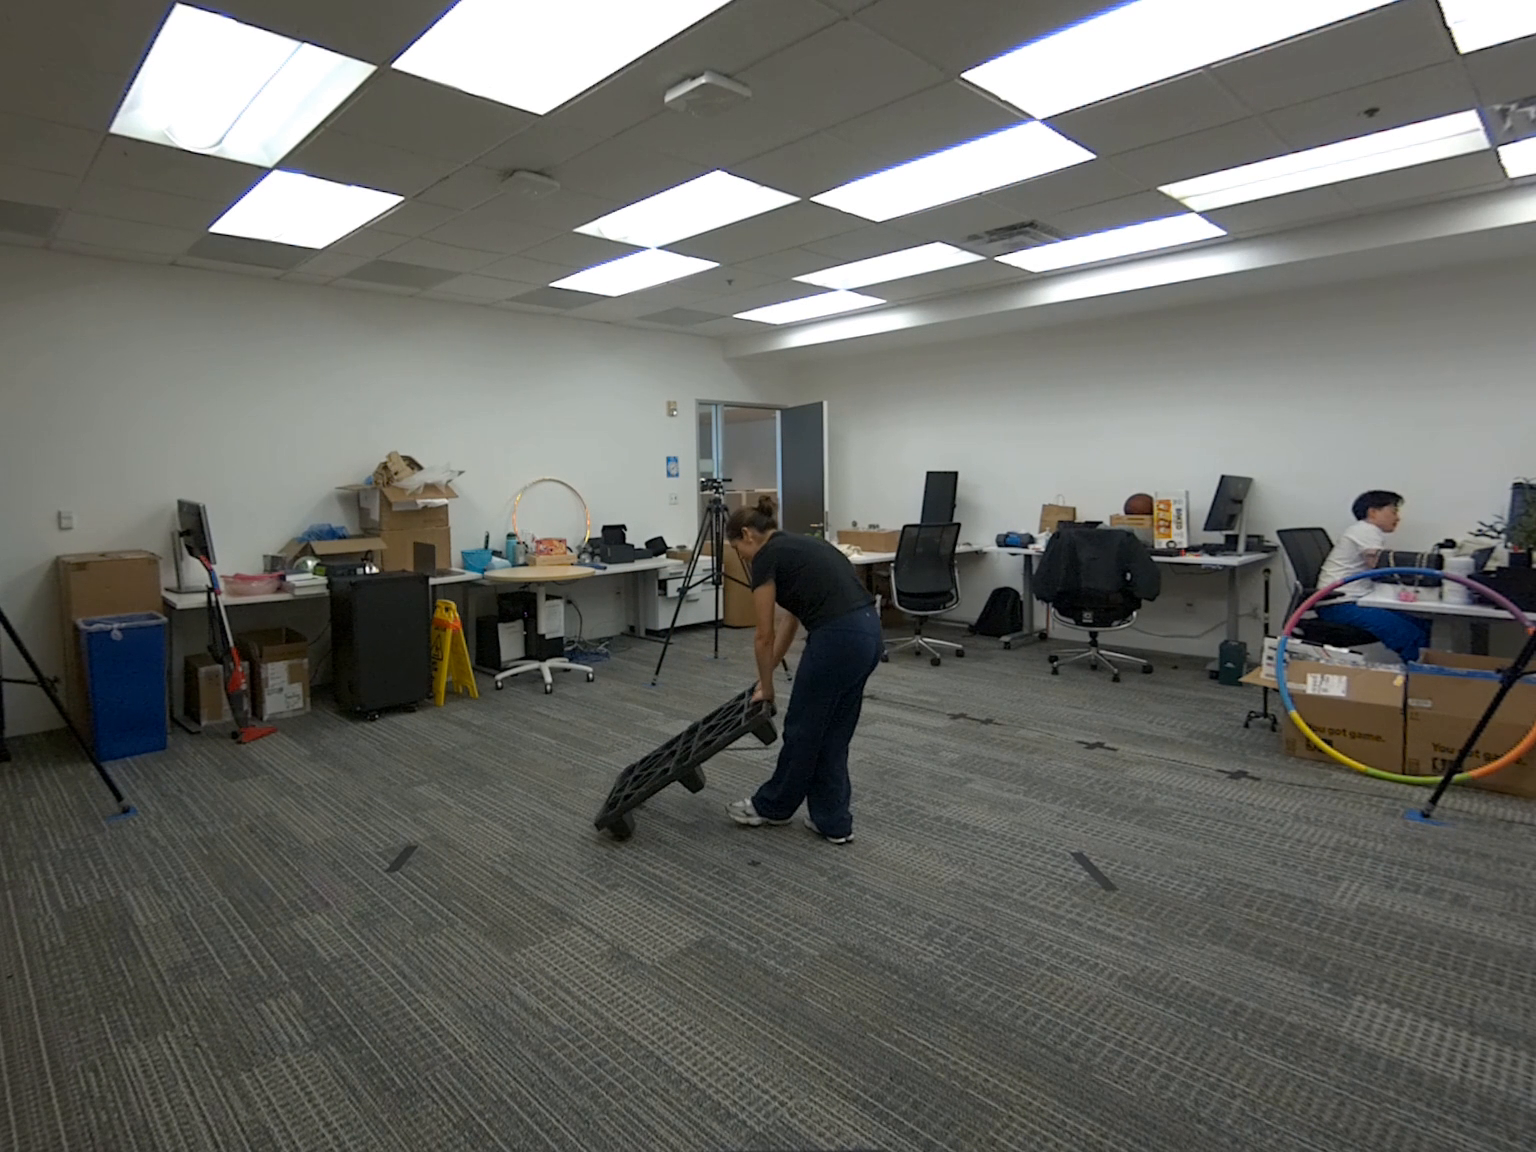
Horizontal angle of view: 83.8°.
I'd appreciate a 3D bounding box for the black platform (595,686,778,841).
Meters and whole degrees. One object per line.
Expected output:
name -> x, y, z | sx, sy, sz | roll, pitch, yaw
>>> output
black platform -> -0.302, 0.743, 3.519 | 0.806, 0.143, 0.607 | -35, 6, 4
